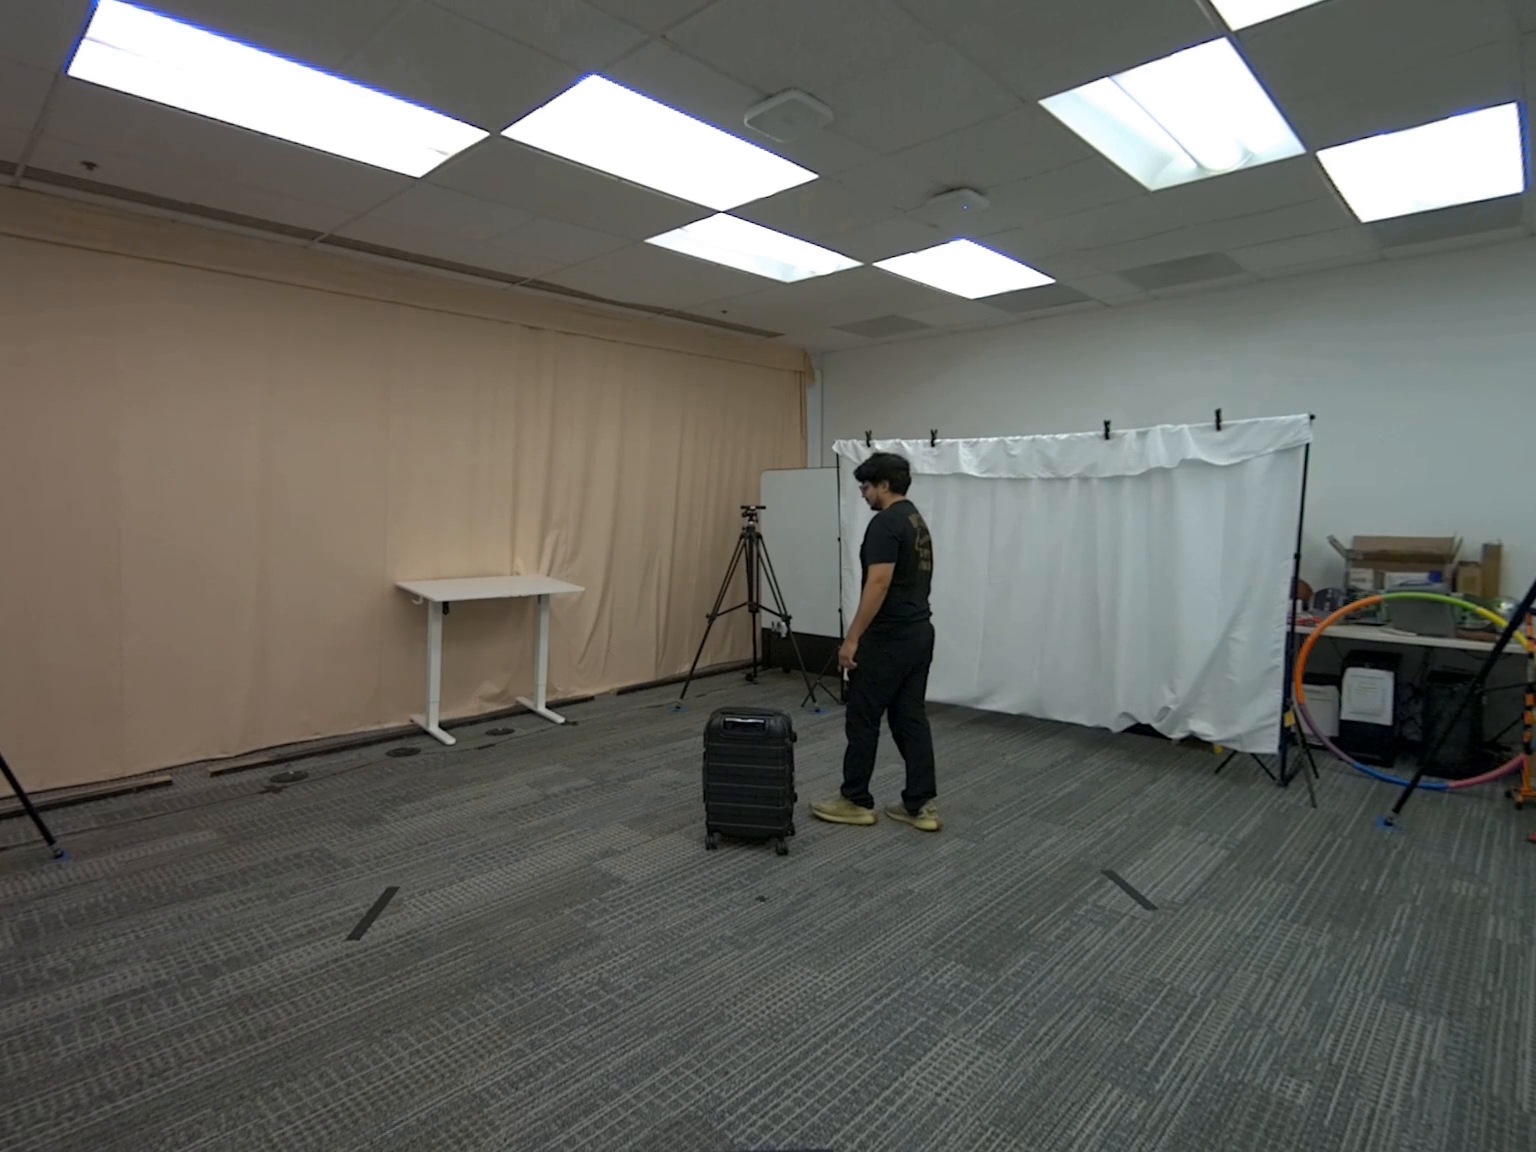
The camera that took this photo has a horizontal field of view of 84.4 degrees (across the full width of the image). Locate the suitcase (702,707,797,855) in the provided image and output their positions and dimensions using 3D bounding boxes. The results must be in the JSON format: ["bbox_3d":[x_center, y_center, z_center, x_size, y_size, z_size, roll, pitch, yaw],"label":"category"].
[{"bbox_3d":[-0.078,0.824,3.502,0.381,0.549,0.245,0,1,13],"label":"suitcase"}]
